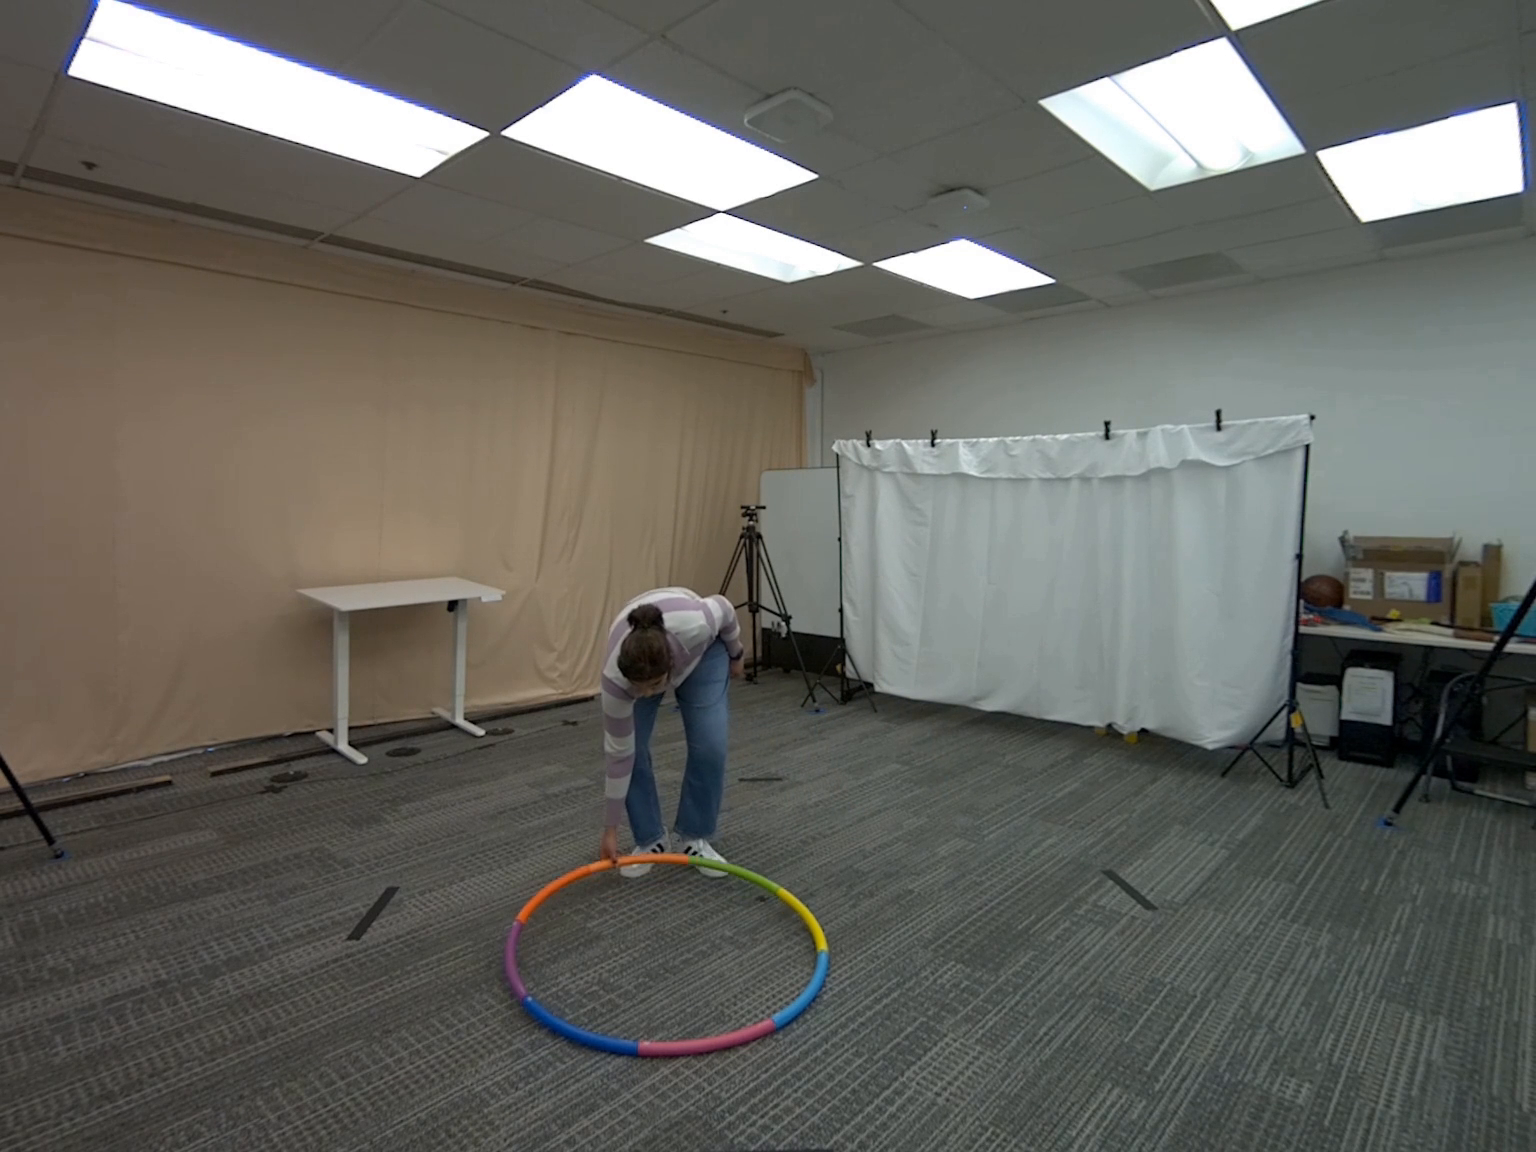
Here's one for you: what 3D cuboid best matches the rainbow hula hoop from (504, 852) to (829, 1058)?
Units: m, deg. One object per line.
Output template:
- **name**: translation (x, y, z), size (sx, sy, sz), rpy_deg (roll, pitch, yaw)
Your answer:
- **rainbow hula hoop**: translation (-0.304, 1.114, 2.596), size (0.977, 0.035, 0.985), rpy_deg (2, 9, -2)
